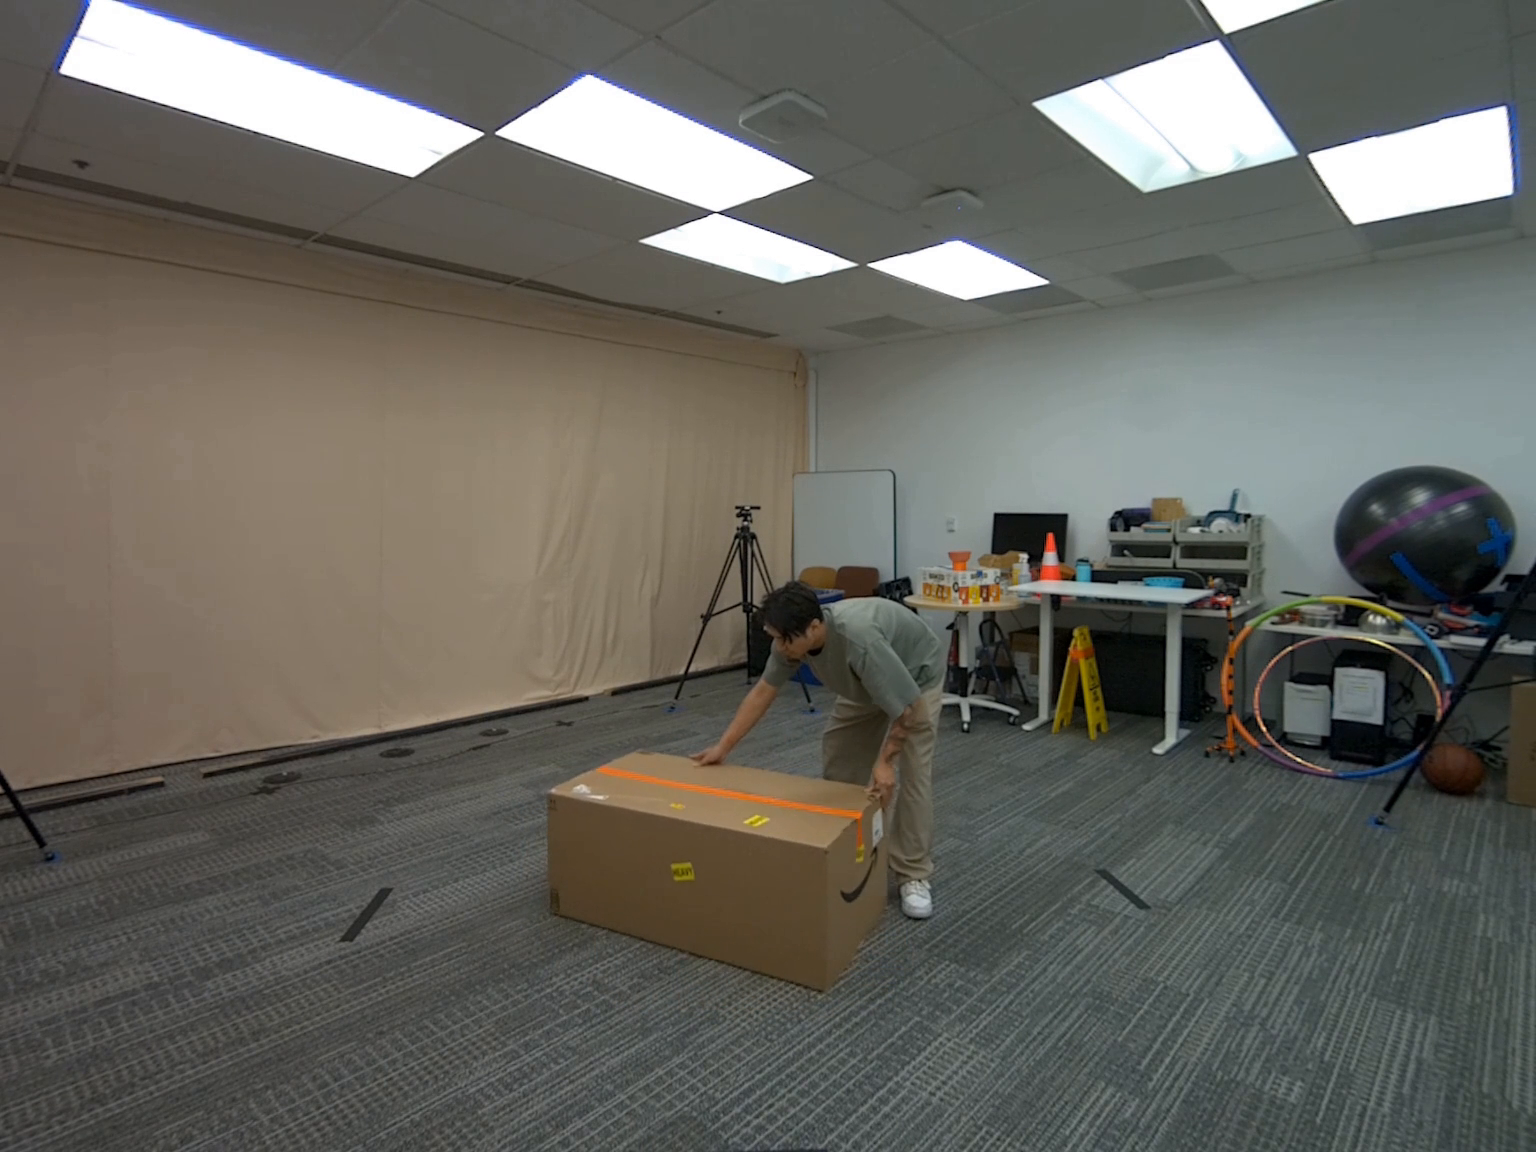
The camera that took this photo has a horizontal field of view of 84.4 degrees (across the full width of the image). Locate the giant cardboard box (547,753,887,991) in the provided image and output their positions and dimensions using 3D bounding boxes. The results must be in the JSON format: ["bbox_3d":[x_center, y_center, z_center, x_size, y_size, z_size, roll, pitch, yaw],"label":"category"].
[{"bbox_3d":[-0.173,0.937,2.884,1.054,0.425,0.563,2,4,28],"label":"giant cardboard box"}]
